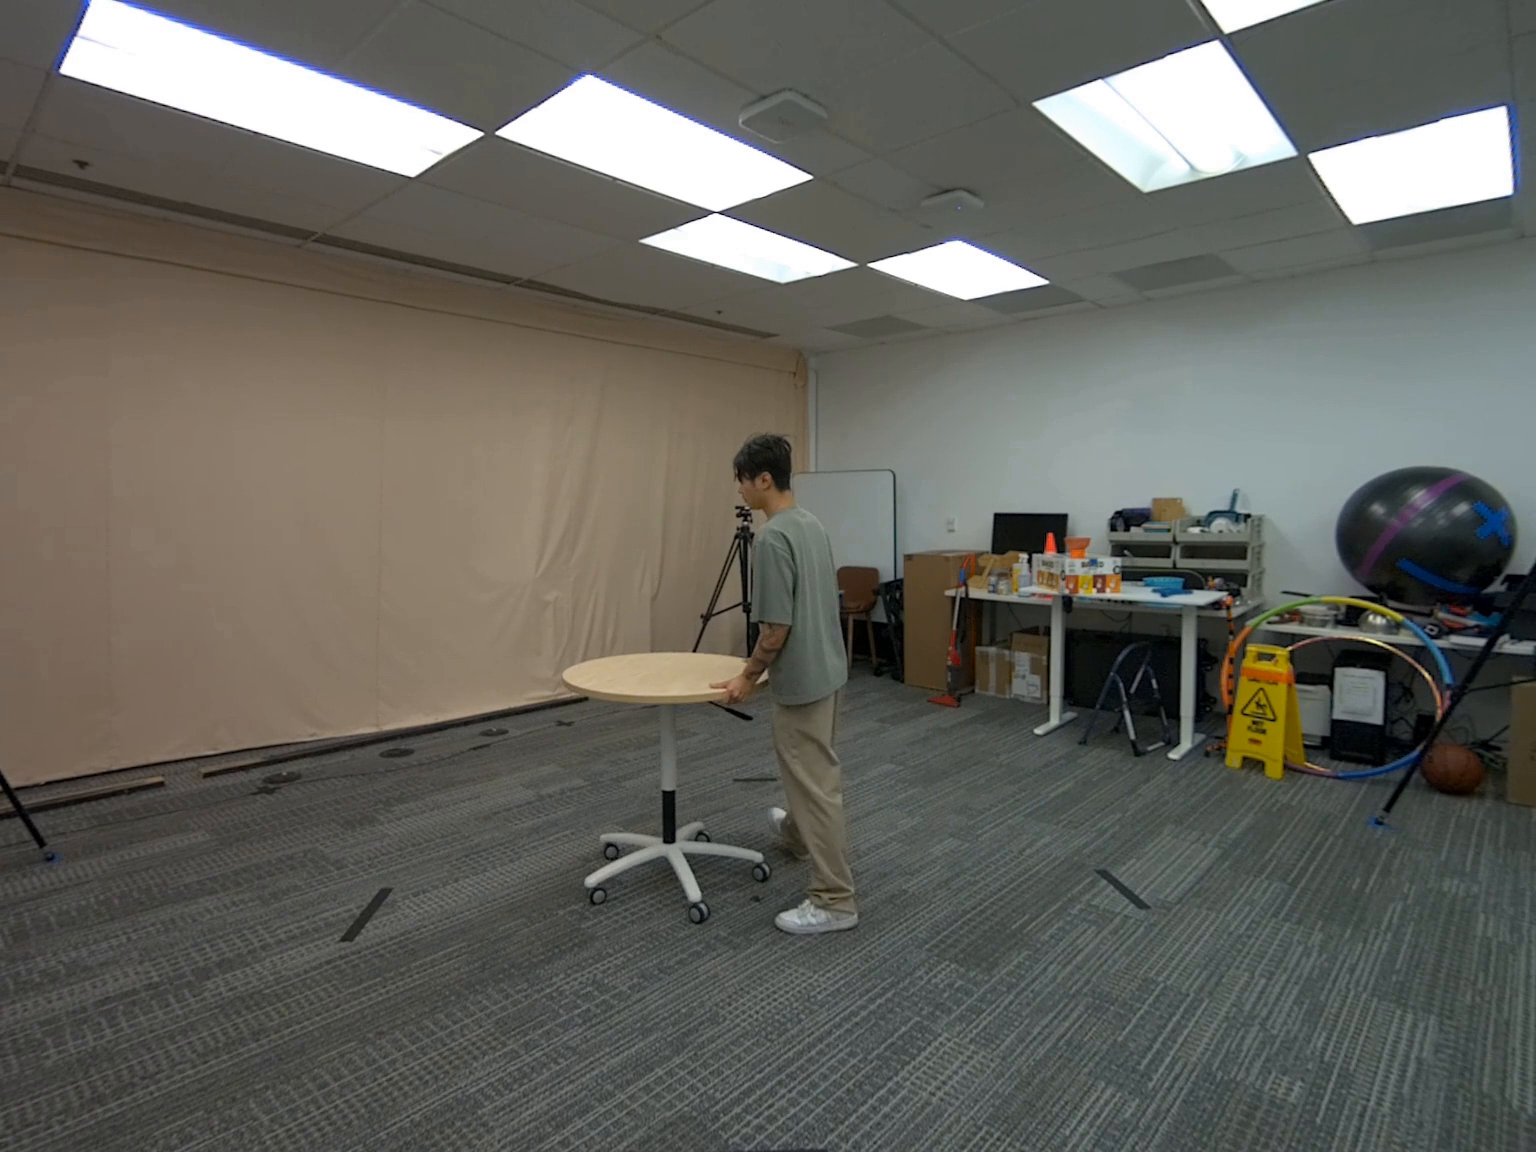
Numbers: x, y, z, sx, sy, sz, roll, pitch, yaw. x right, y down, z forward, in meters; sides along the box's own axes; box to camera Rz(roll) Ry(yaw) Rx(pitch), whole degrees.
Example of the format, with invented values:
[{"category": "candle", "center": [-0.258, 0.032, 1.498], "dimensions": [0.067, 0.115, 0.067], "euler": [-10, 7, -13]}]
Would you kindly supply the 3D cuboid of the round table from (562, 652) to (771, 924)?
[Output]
[{"category": "round table", "center": [-0.374, 0.740, 3.141], "dimensions": [0.784, 0.785, 0.788], "euler": [0, 4, -2]}]
